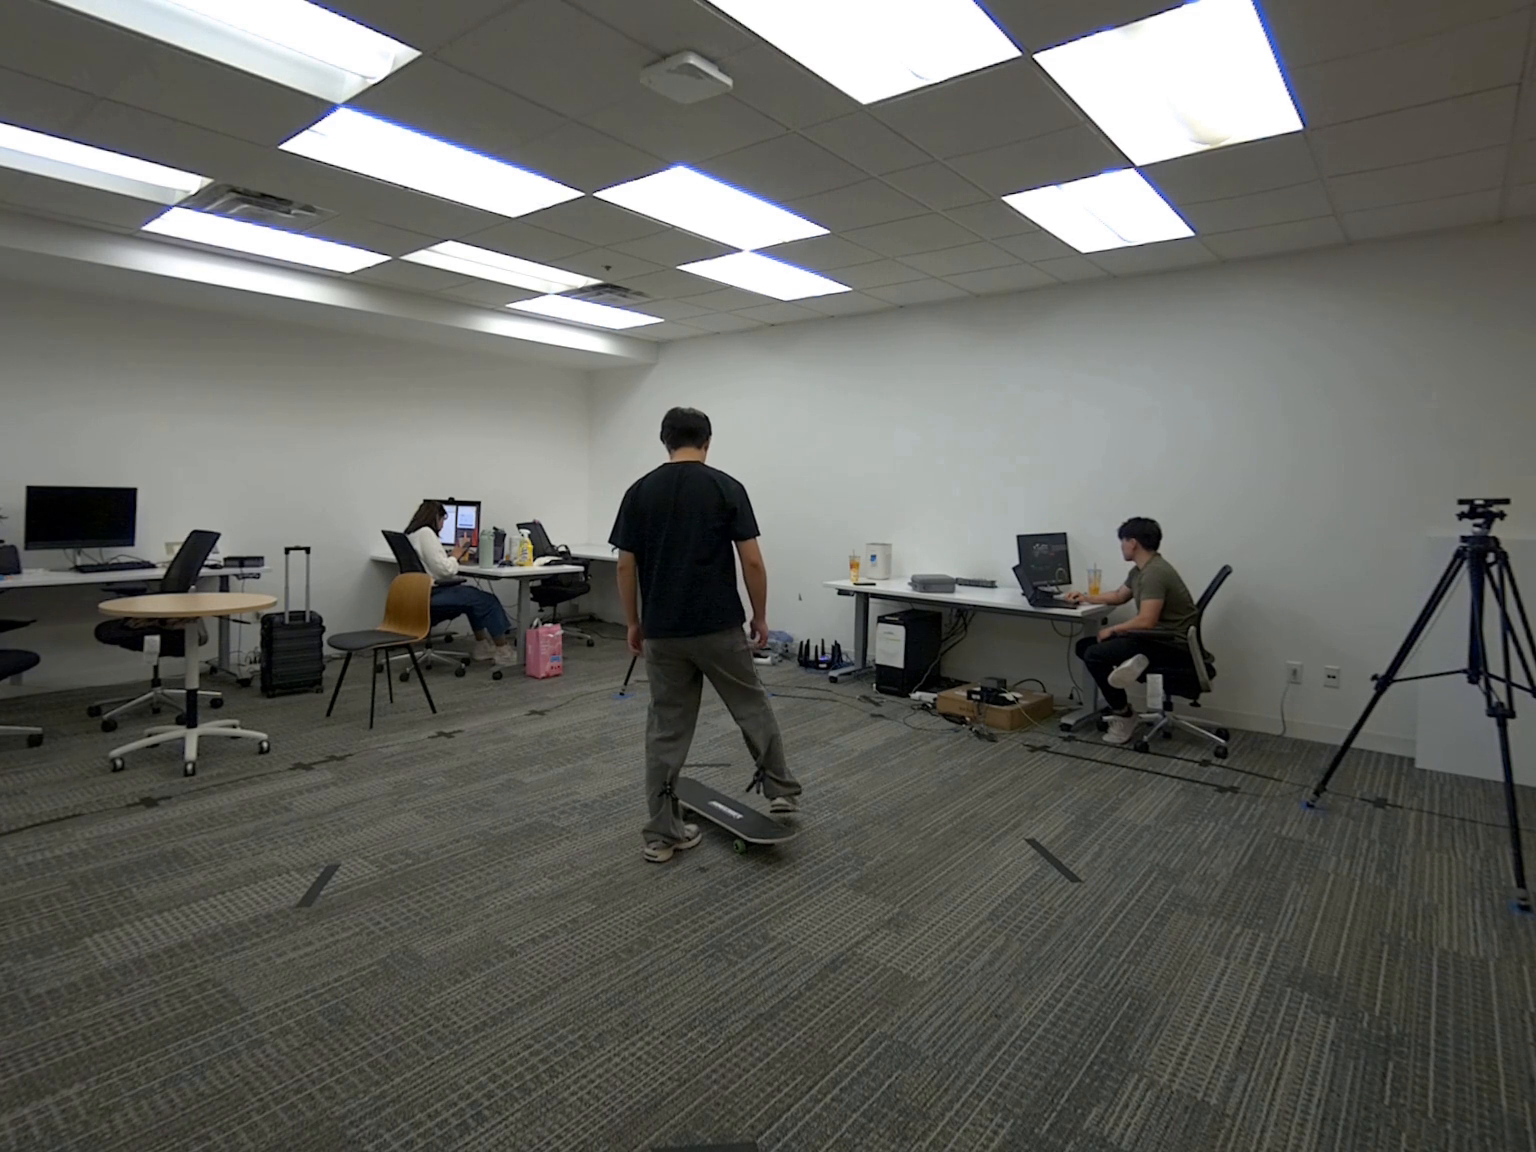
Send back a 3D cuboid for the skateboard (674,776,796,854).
[{"bbox_3d":[-0.182,0.979,3.460,0.188,0.110,0.812,-2,6,-38],"label":"skateboard"}]
